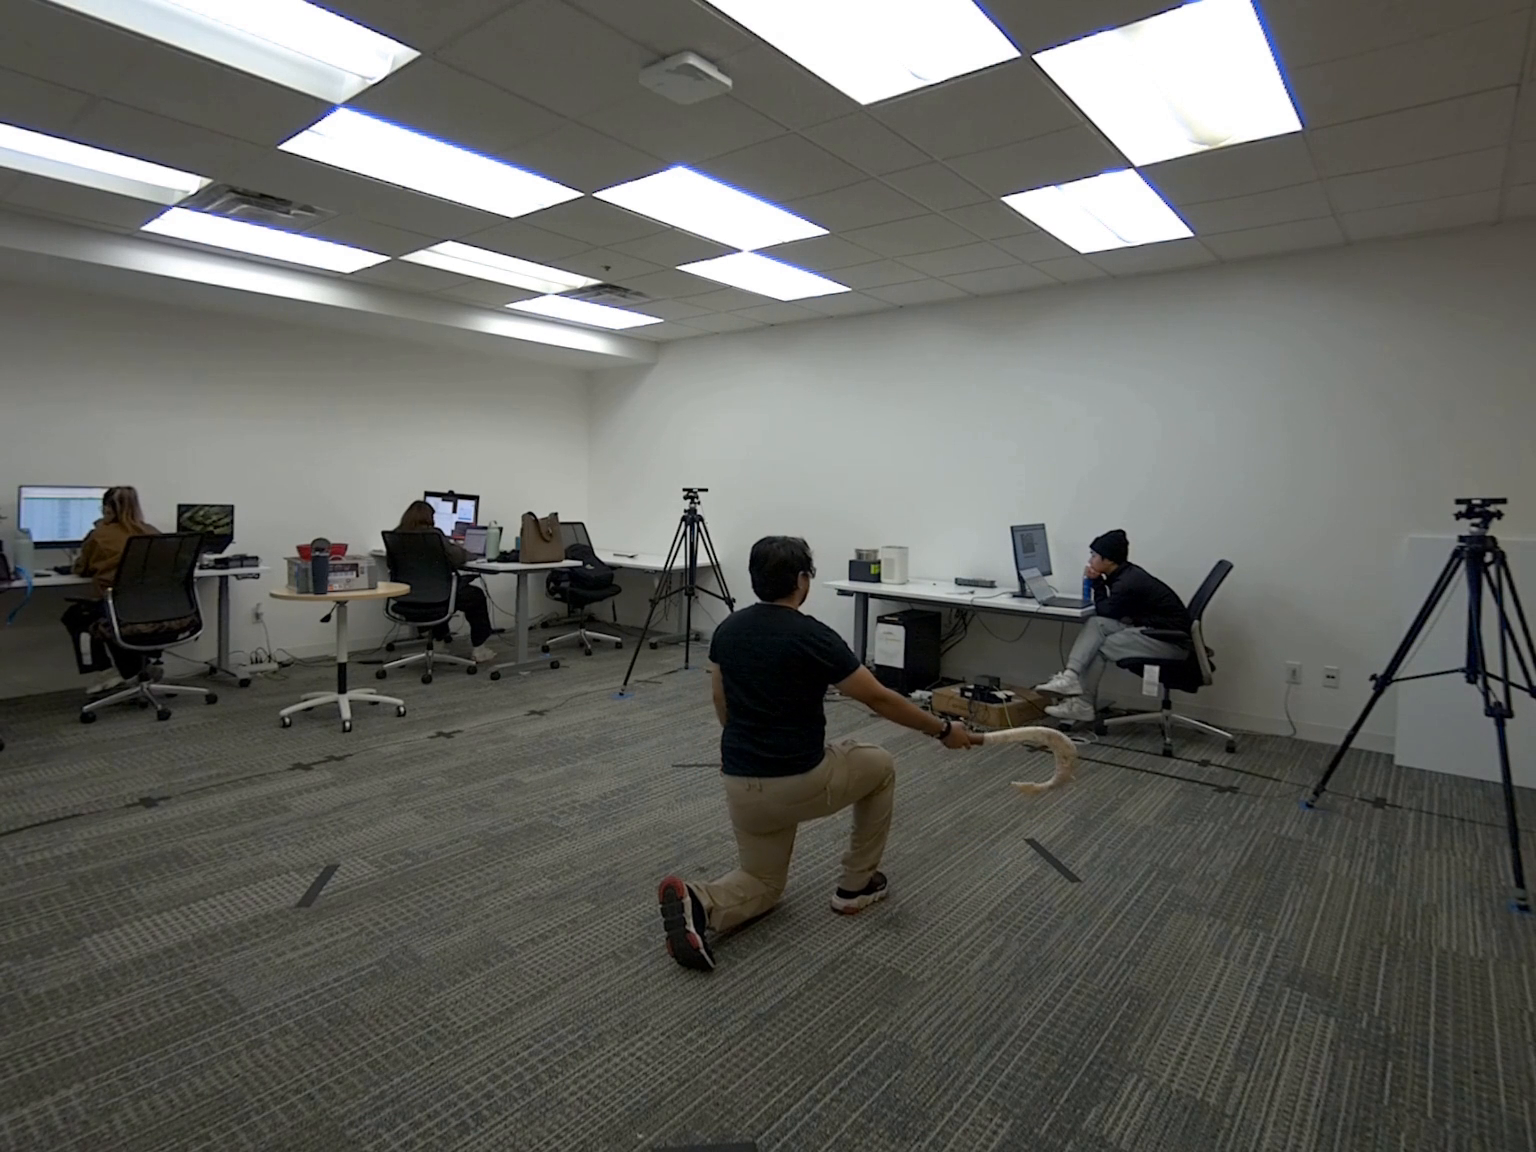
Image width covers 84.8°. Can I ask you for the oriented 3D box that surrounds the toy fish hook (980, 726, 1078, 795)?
[{"bbox_3d":[0.757,0.604,2.849,0.512,0.225,0.048,7,-2,9],"label":"toy fish hook"}]
